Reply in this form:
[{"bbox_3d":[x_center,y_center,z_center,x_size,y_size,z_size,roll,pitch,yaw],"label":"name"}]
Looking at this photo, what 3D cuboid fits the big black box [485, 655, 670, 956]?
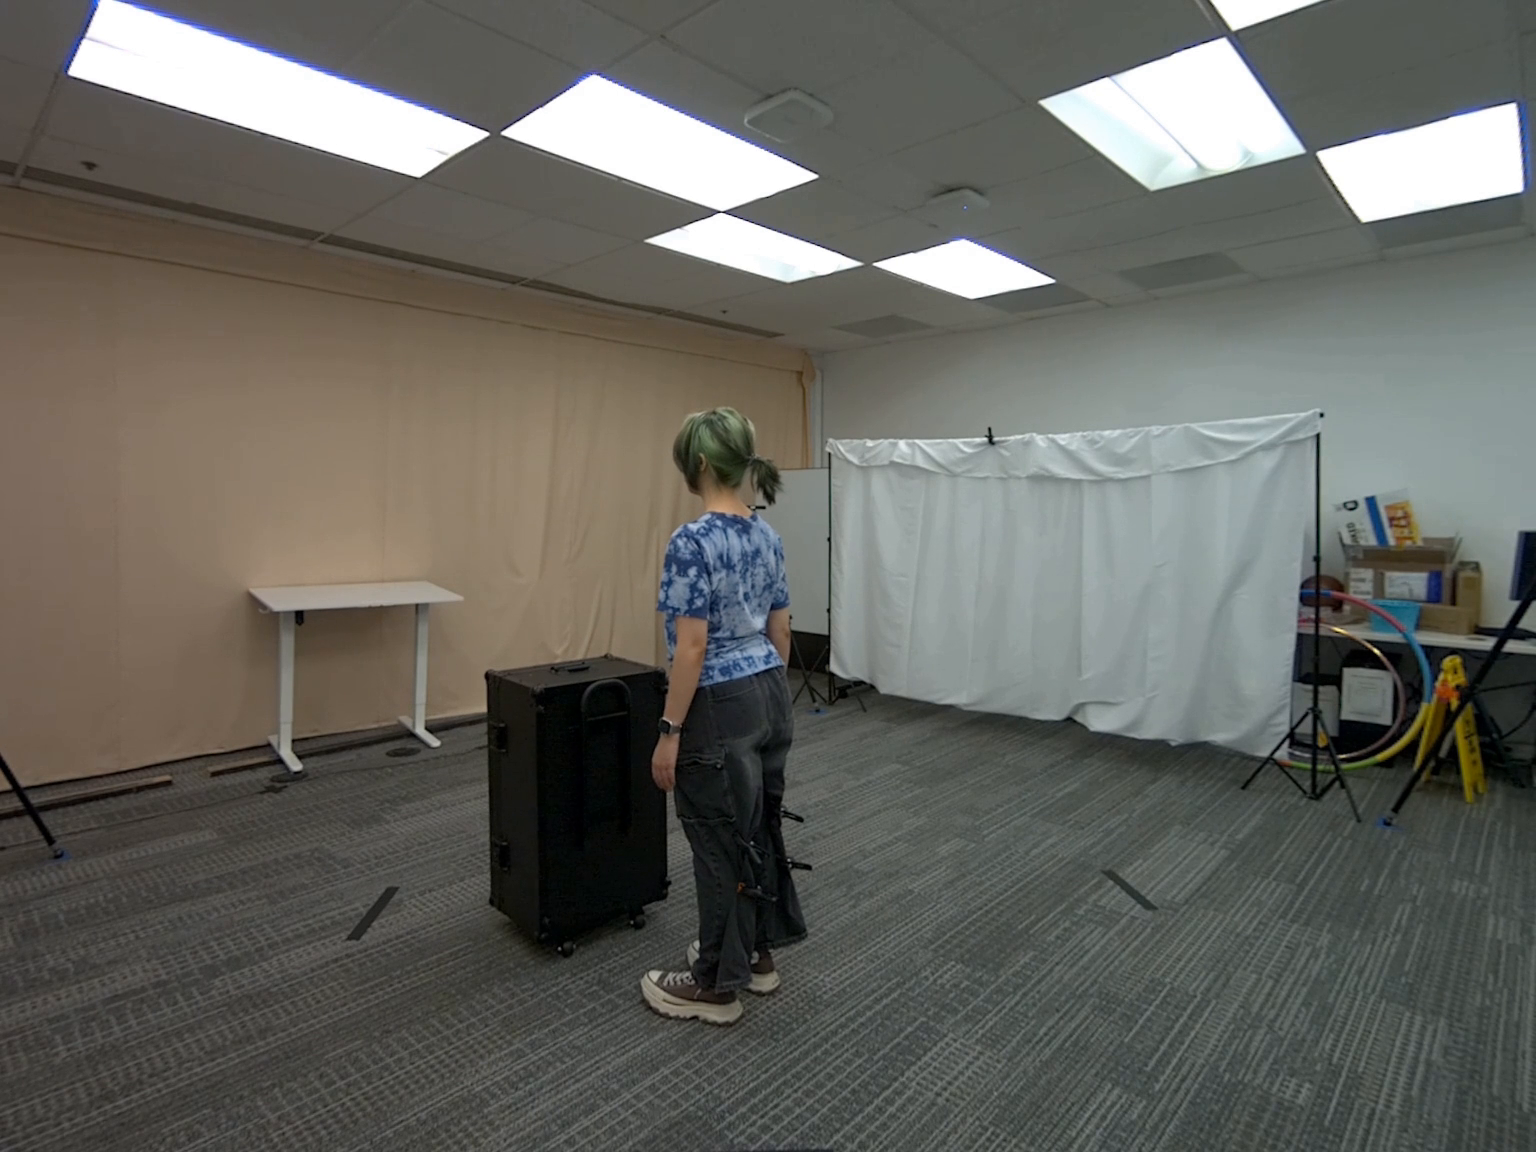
[{"bbox_3d":[-0.622,0.738,2.801,0.505,0.859,0.409,-3,4,-41],"label":"big black box"}]
